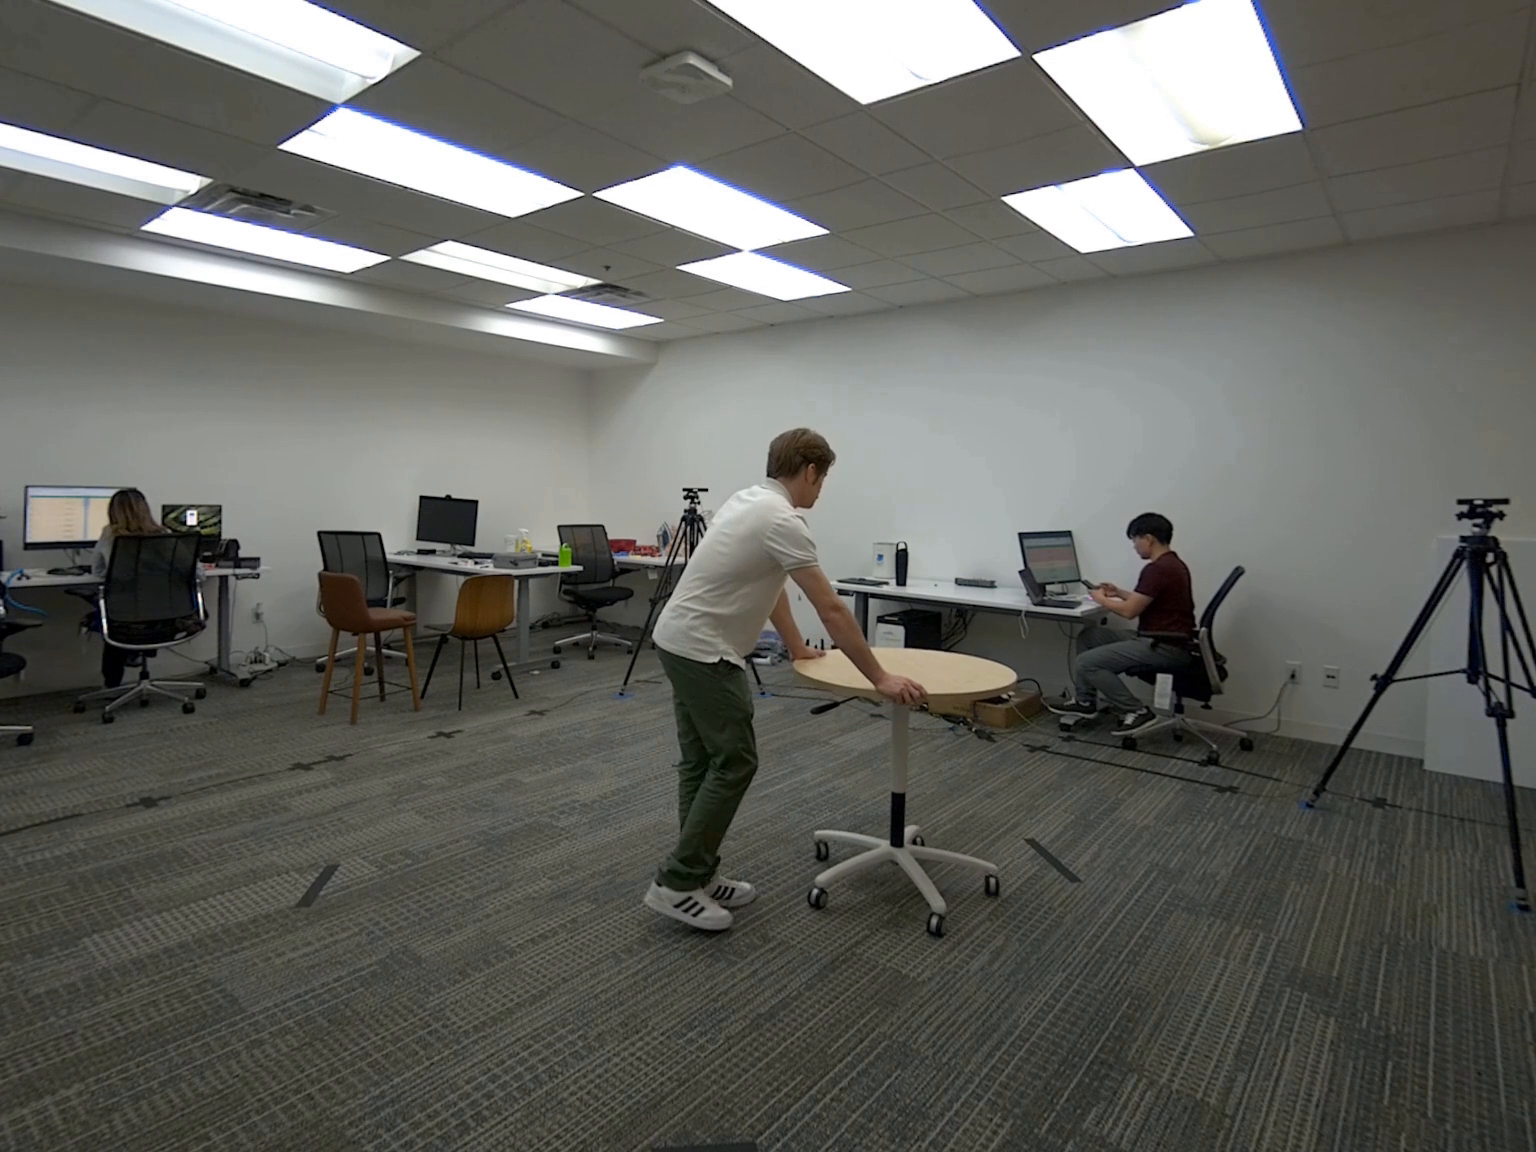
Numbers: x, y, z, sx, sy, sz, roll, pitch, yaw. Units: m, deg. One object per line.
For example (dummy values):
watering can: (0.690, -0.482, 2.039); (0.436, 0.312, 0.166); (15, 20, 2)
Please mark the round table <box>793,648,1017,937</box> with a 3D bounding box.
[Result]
round table: (0.457, 0.708, 3.008); (0.763, 0.791, 0.768); (1, 4, -2)
